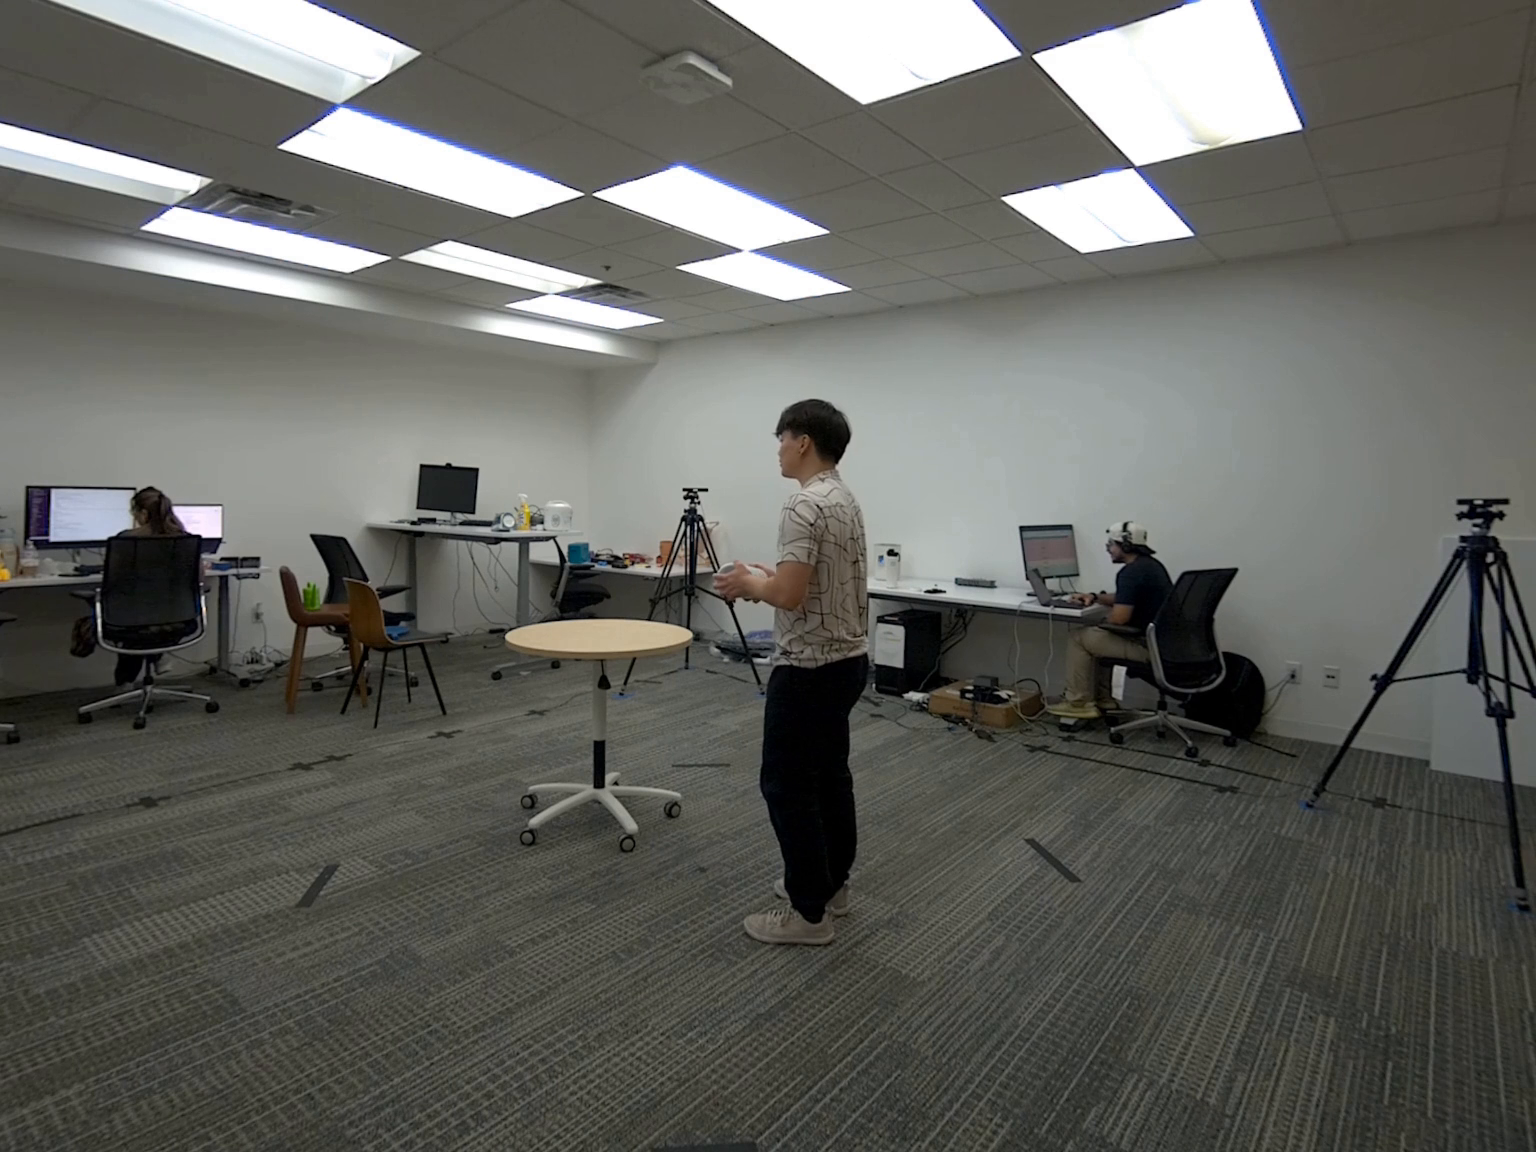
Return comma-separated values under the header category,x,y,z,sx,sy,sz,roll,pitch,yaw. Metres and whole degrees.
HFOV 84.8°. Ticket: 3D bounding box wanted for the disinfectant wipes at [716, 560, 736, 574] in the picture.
category,x,y,z,sx,sy,sz,roll,pitch,yaw
disinfectant wipes,-0.084,0.024,2.806,0.121,0.118,0.211,3,-4,25
